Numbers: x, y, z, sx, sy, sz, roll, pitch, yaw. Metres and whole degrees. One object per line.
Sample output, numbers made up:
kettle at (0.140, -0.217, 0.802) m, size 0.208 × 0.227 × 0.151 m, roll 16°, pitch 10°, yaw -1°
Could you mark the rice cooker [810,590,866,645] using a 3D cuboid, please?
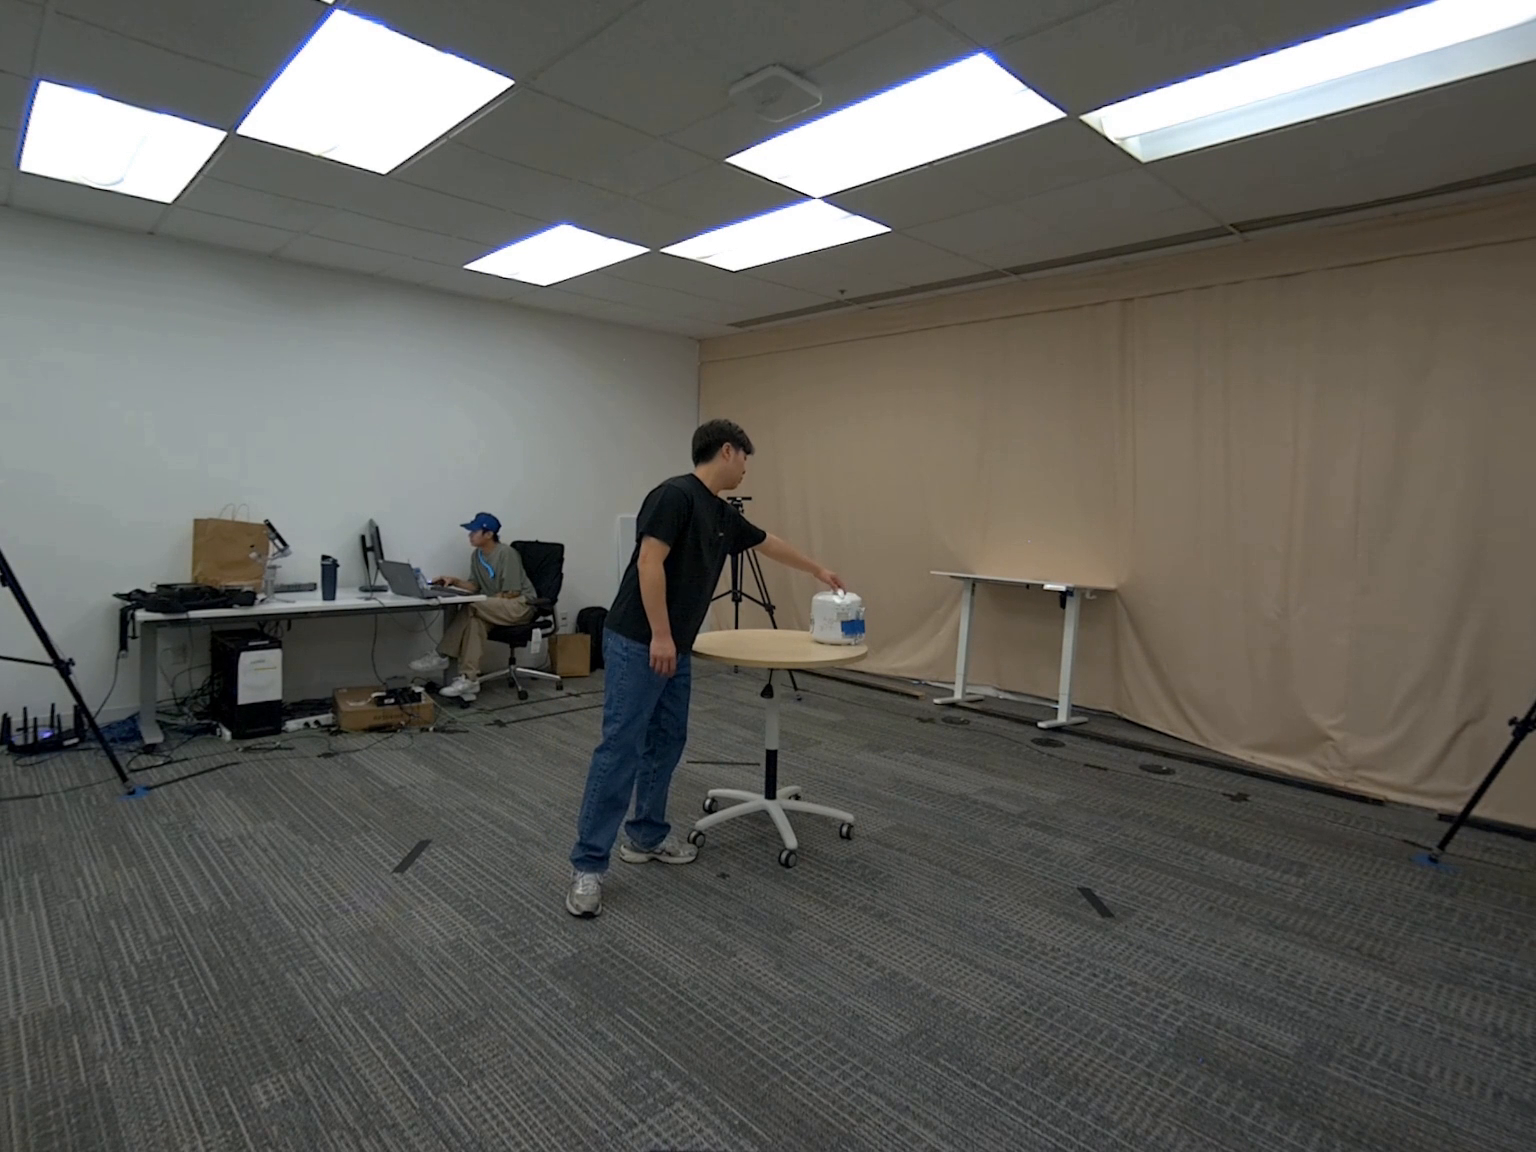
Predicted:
rice cooker at (0.290, 0.168, 3.574) m, size 0.216 × 0.232 × 0.222 m, roll 3°, pitch 3°, yaw -7°
